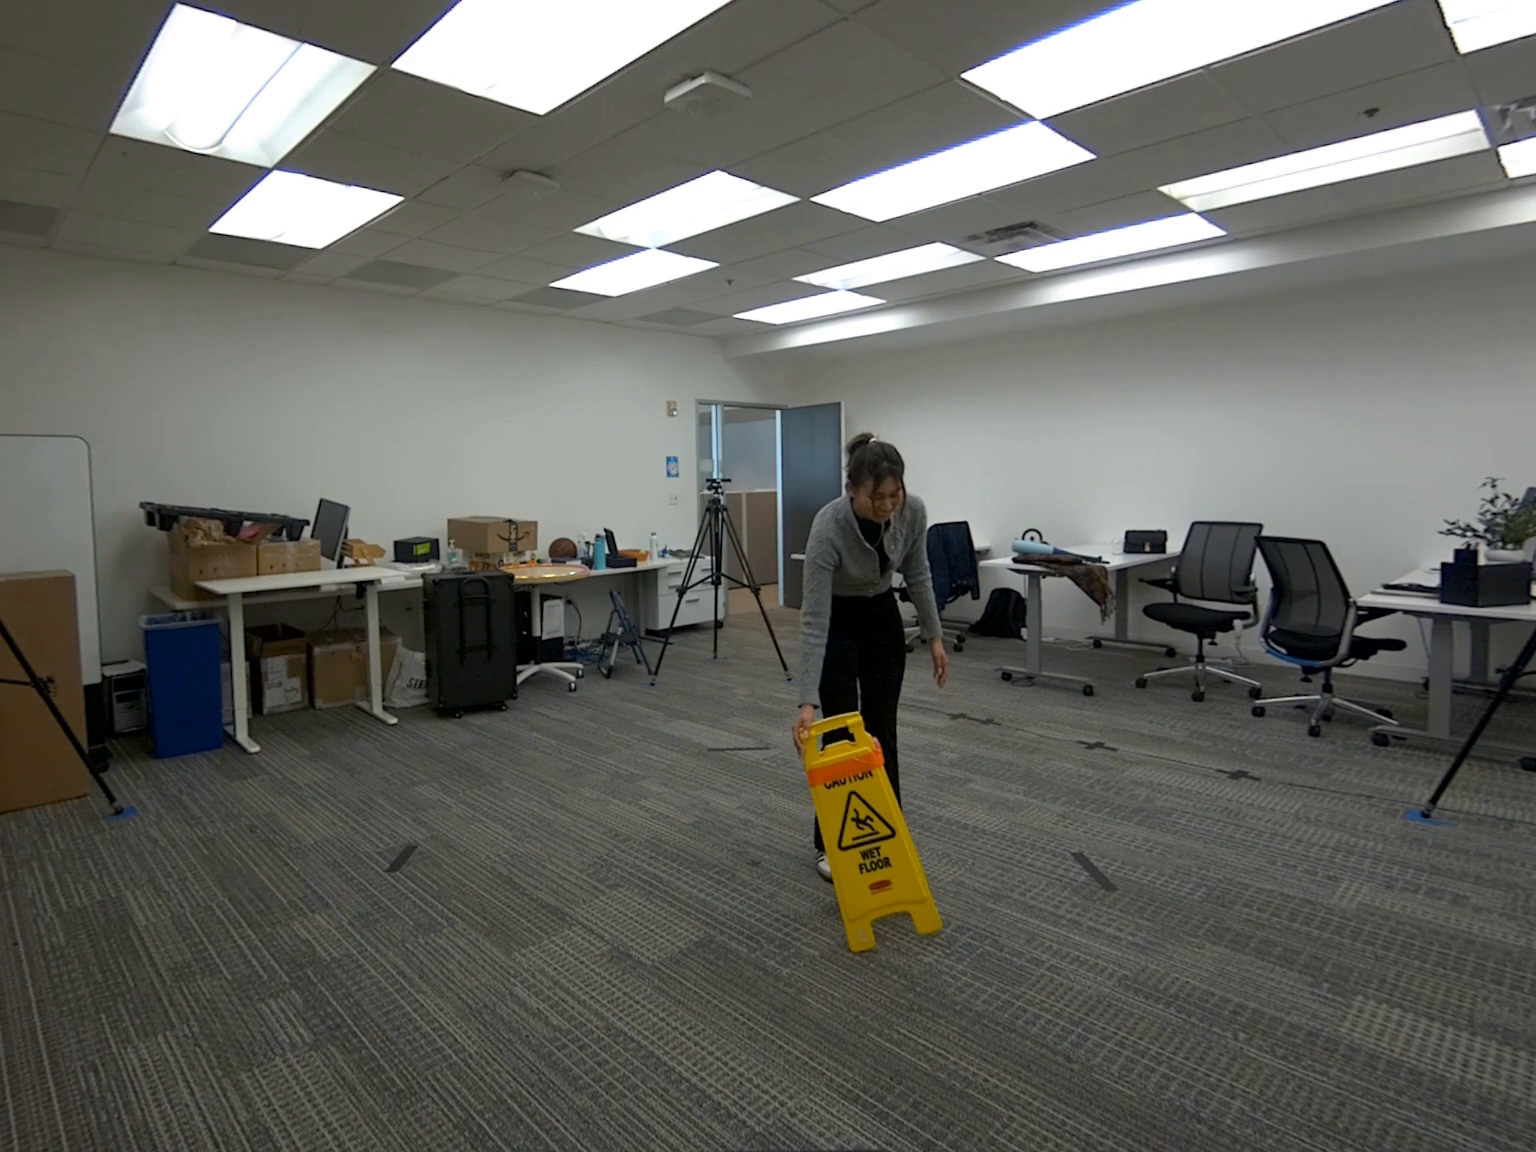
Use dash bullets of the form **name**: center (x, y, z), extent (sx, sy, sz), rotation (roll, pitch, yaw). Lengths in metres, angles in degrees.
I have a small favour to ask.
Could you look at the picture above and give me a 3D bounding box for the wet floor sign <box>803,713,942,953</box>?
- **wet floor sign**: center (0.291, 0.752, 2.624), extent (0.283, 0.646, 0.289), rotation (-19, 1, 4)
